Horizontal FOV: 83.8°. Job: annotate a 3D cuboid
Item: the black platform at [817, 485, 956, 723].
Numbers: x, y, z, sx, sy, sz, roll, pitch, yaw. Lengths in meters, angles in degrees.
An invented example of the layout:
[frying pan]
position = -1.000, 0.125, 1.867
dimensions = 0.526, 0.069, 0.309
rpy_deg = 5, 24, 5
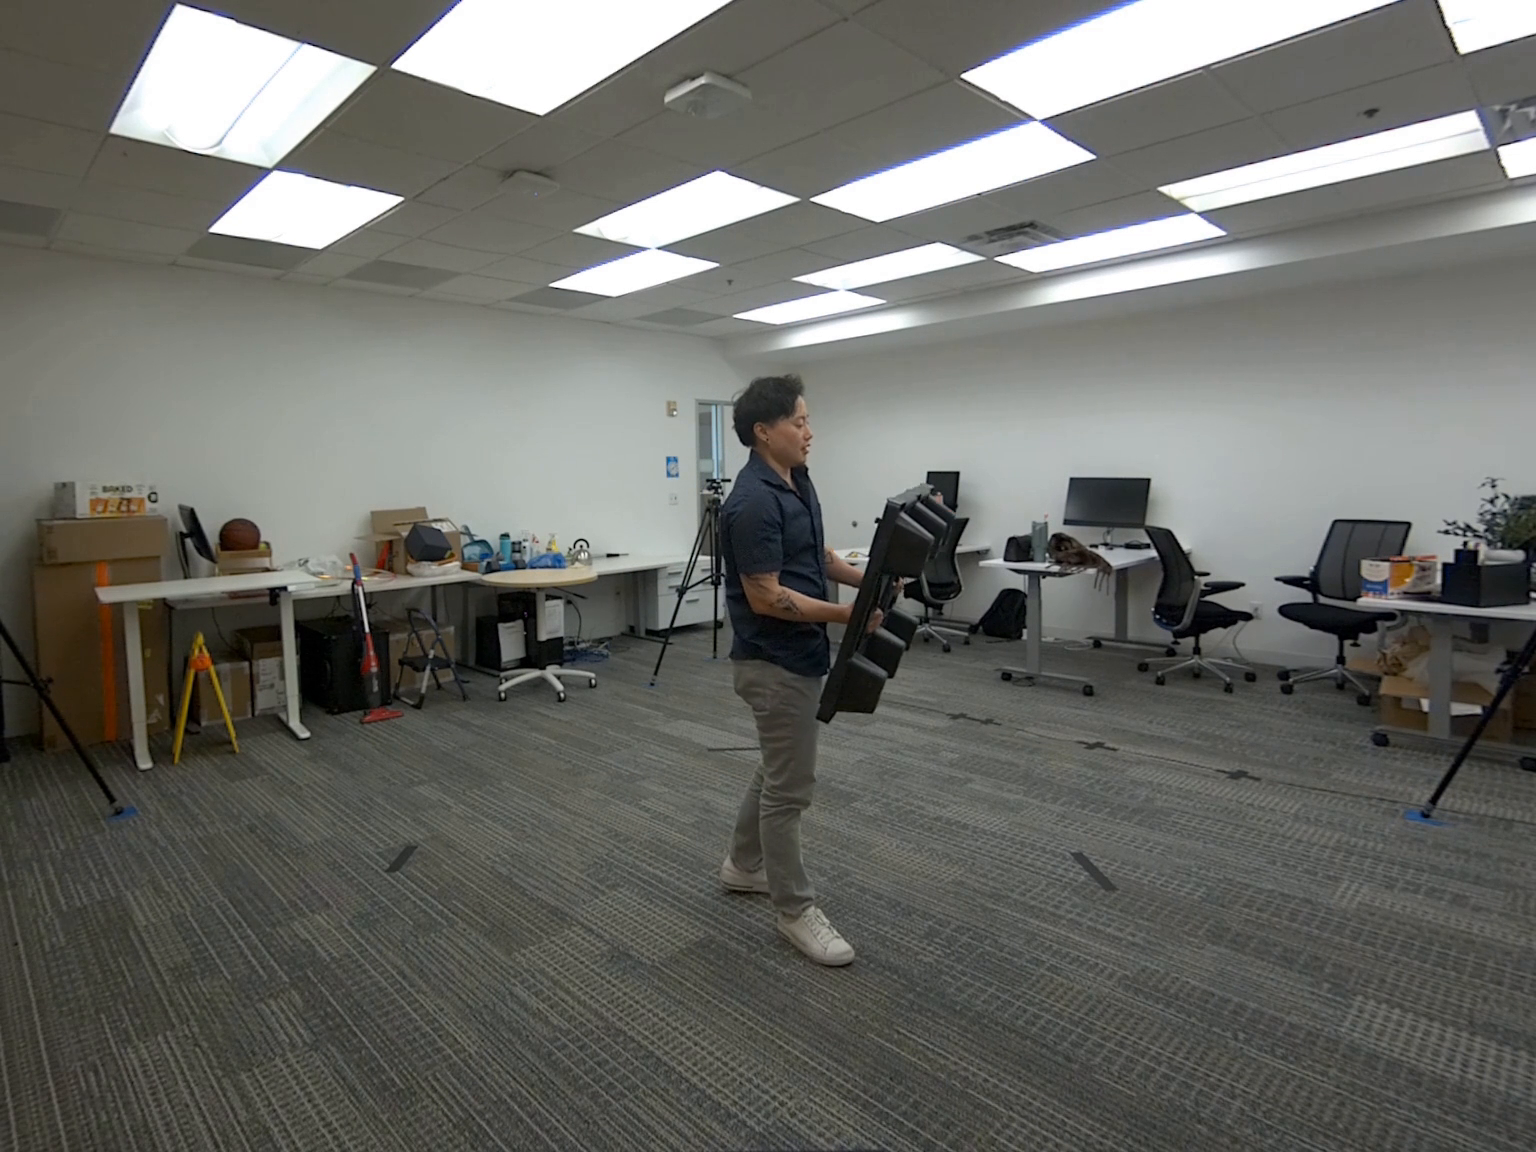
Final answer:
[black platform]
position = 0.380, 0.052, 2.479
dimensions = 0.146, 0.601, 0.797
rpy_deg = 19, 13, 13
